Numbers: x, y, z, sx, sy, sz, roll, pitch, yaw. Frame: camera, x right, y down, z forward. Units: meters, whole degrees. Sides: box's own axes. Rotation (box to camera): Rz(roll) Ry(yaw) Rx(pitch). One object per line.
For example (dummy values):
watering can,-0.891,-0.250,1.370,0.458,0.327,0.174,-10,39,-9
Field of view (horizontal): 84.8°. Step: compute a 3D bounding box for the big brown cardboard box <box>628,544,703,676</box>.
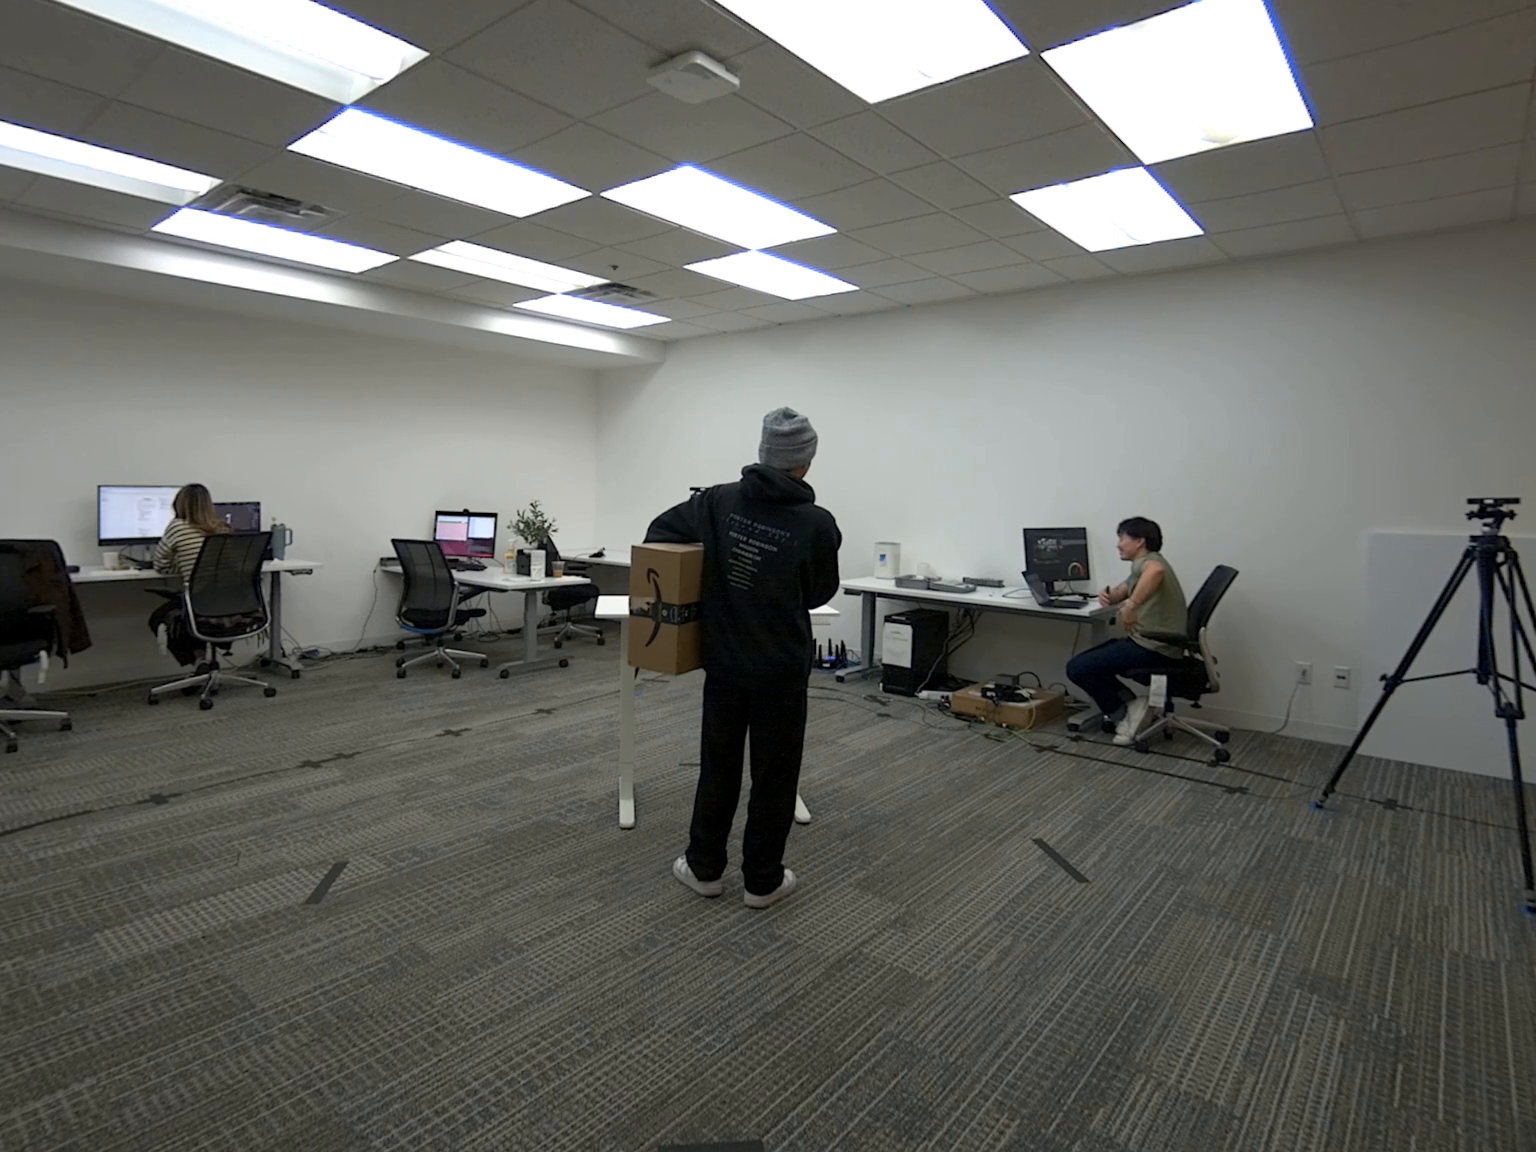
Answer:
big brown cardboard box,-0.242,0.086,3.052,0.240,0.415,0.573,6,7,31
